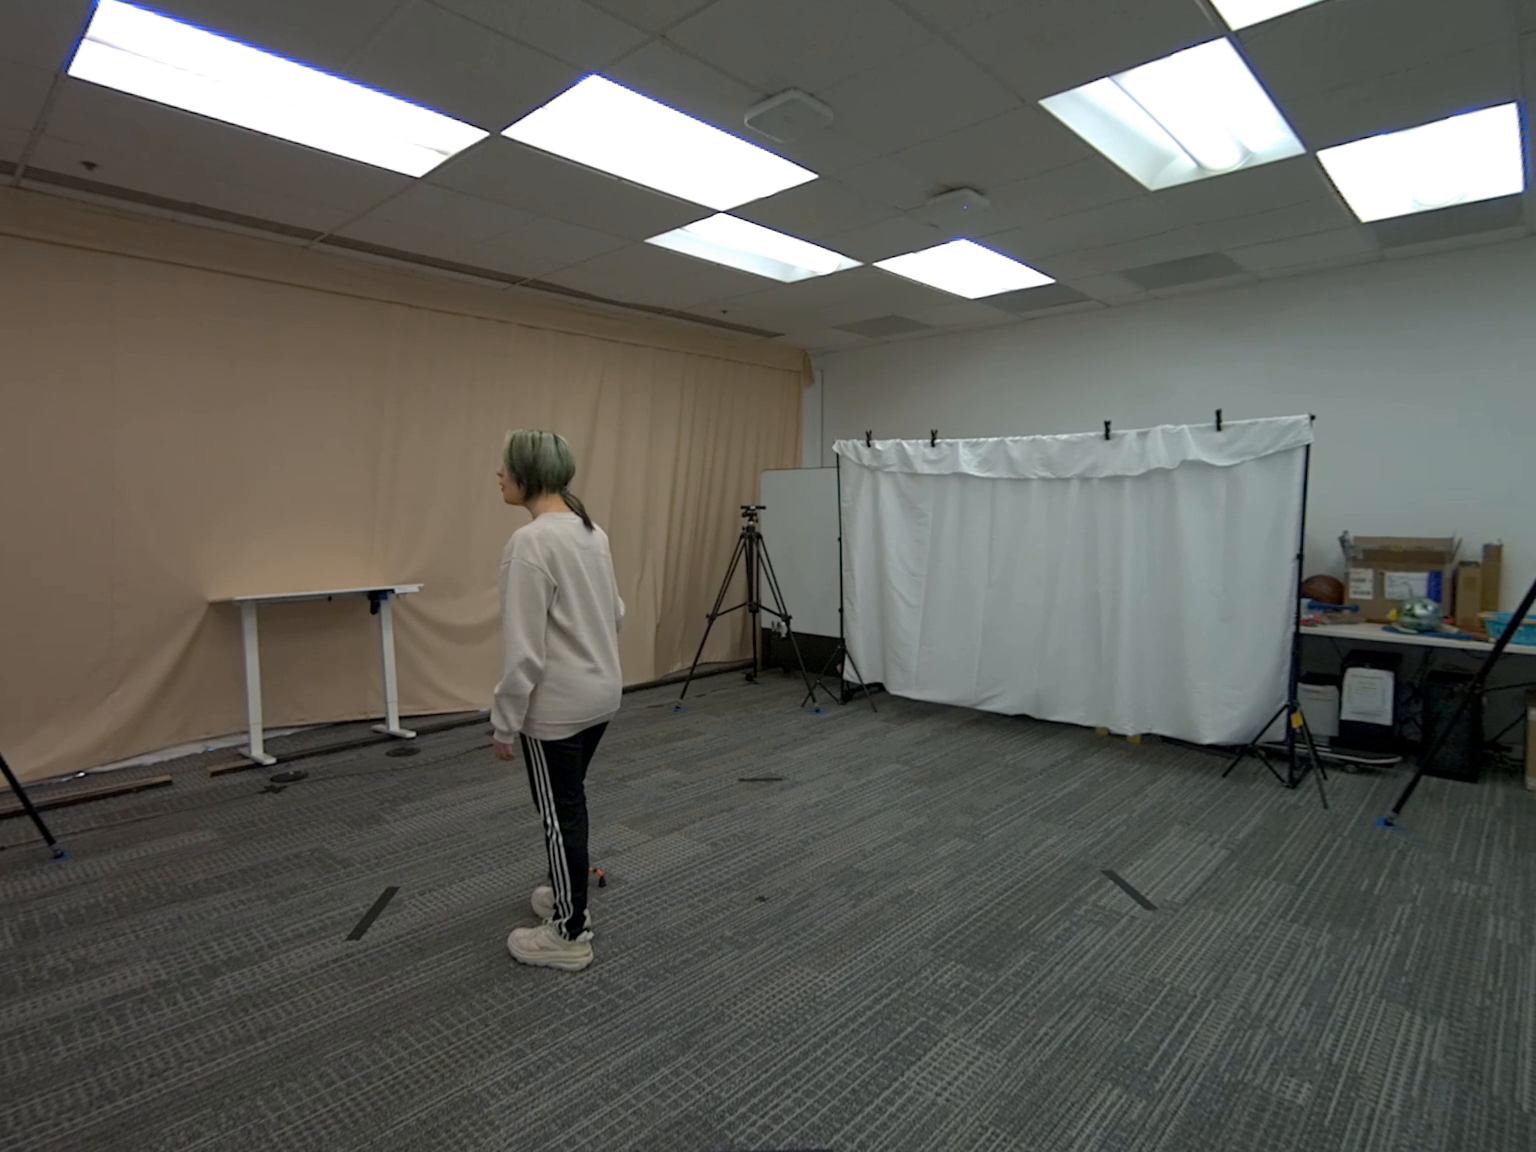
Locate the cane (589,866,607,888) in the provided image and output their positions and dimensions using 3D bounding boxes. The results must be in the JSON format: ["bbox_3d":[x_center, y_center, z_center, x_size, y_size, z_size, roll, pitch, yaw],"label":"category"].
[{"bbox_3d":[-0.702,0.684,3.107,0.147,0.906,0.213,0,4,-39],"label":"cane"}]
